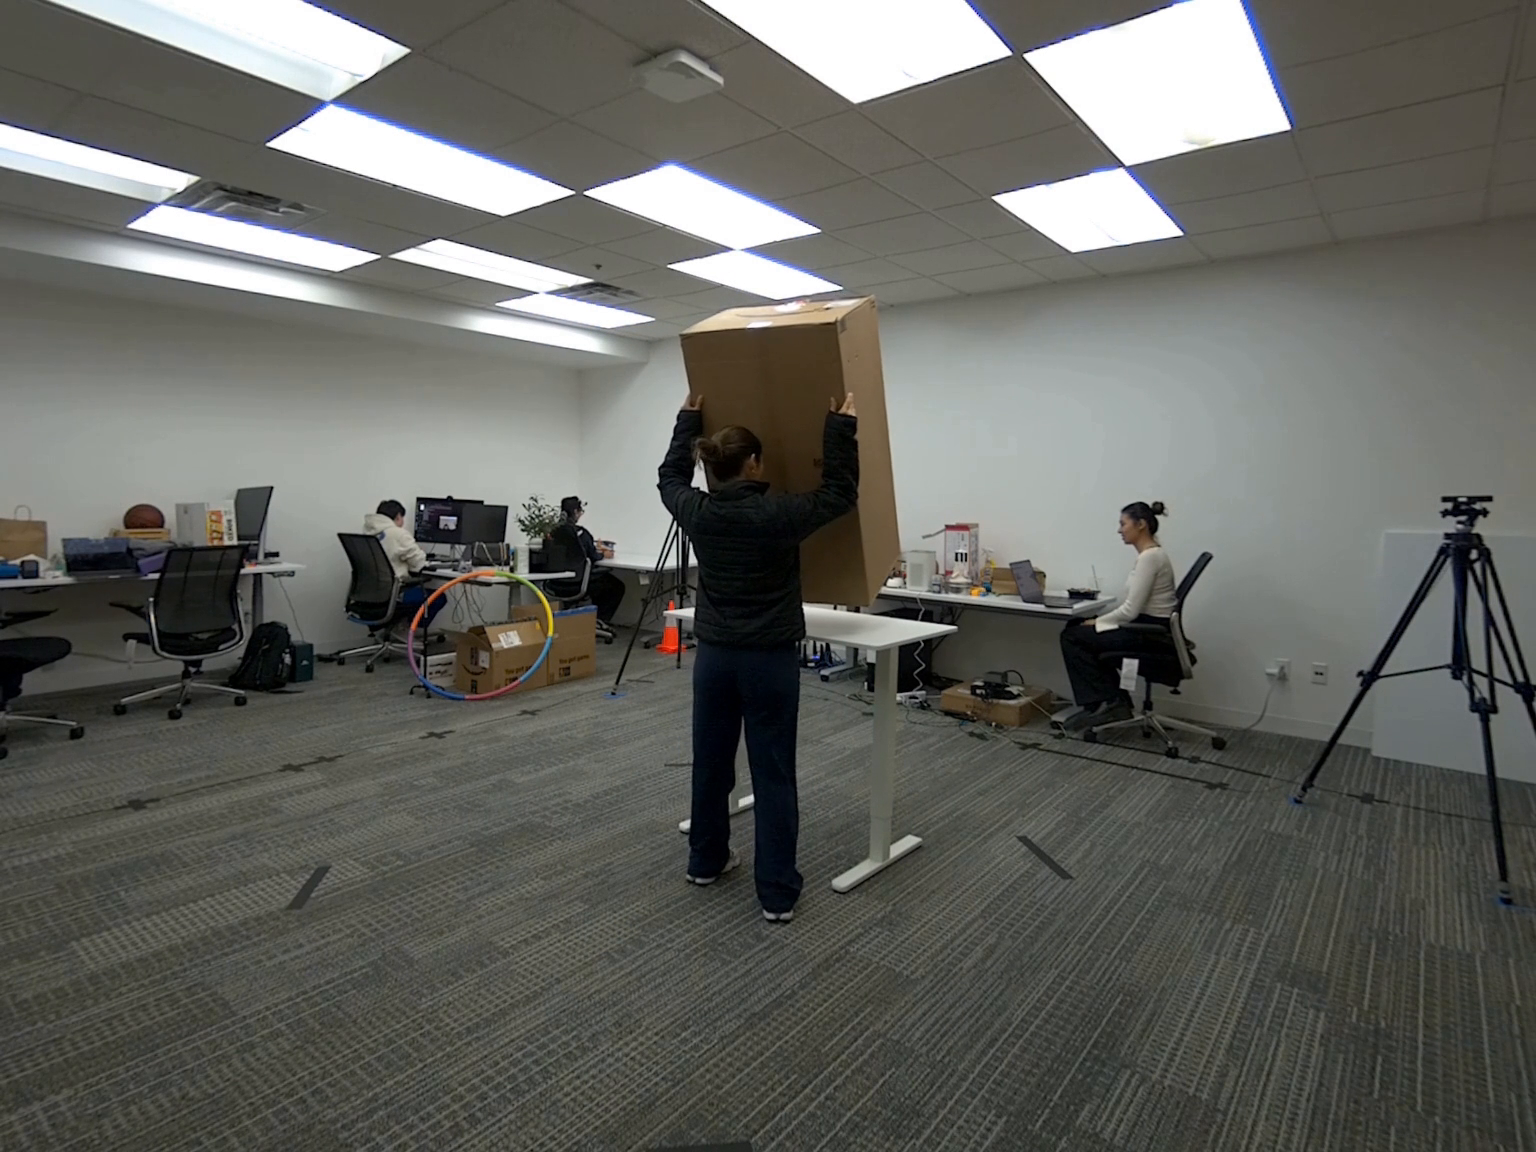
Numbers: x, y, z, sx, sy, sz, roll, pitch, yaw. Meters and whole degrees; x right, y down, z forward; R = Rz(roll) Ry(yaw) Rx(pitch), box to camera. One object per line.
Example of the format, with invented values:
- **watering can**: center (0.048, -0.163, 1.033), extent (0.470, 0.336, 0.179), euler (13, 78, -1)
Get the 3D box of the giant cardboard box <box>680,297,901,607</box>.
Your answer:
- **giant cardboard box**: center (0.123, -0.454, 3.140), extent (0.601, 1.003, 0.444), euler (4, 26, 29)
